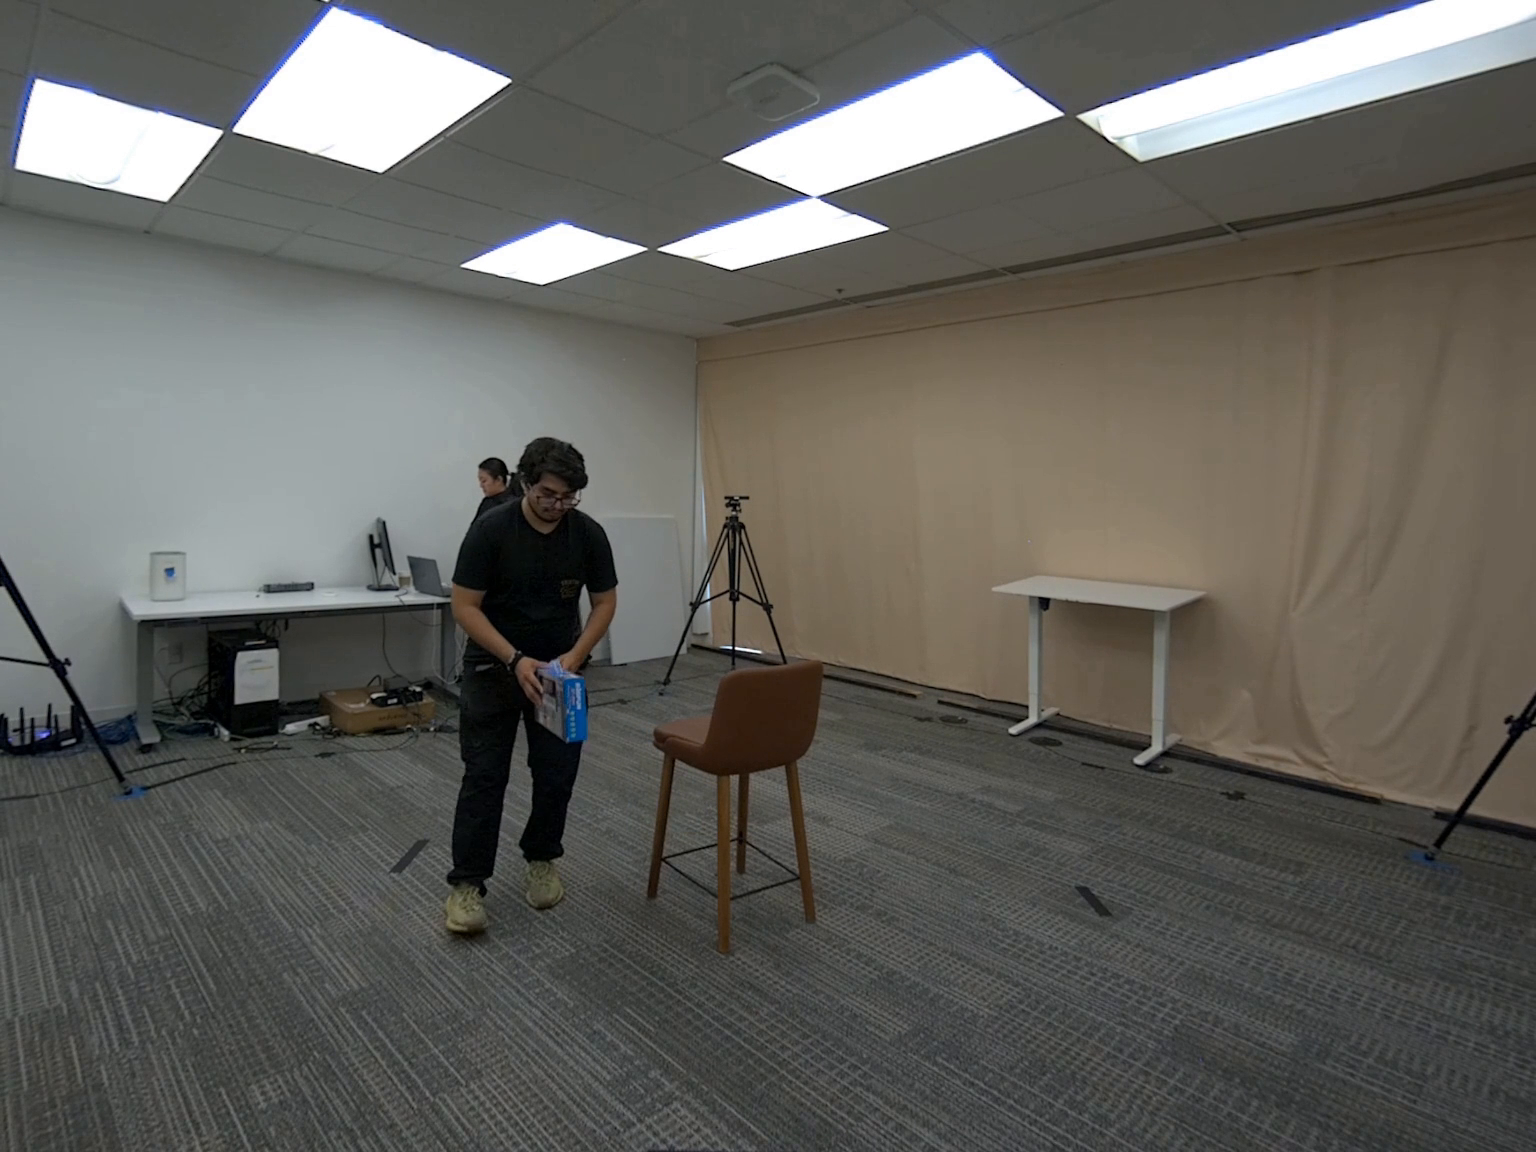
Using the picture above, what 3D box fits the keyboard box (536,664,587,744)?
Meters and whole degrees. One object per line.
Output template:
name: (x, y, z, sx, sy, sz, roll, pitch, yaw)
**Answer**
keyboard box: (-0.629, 0.373, 2.475, 0.058, 0.176, 0.444, -3, 0, -26)
